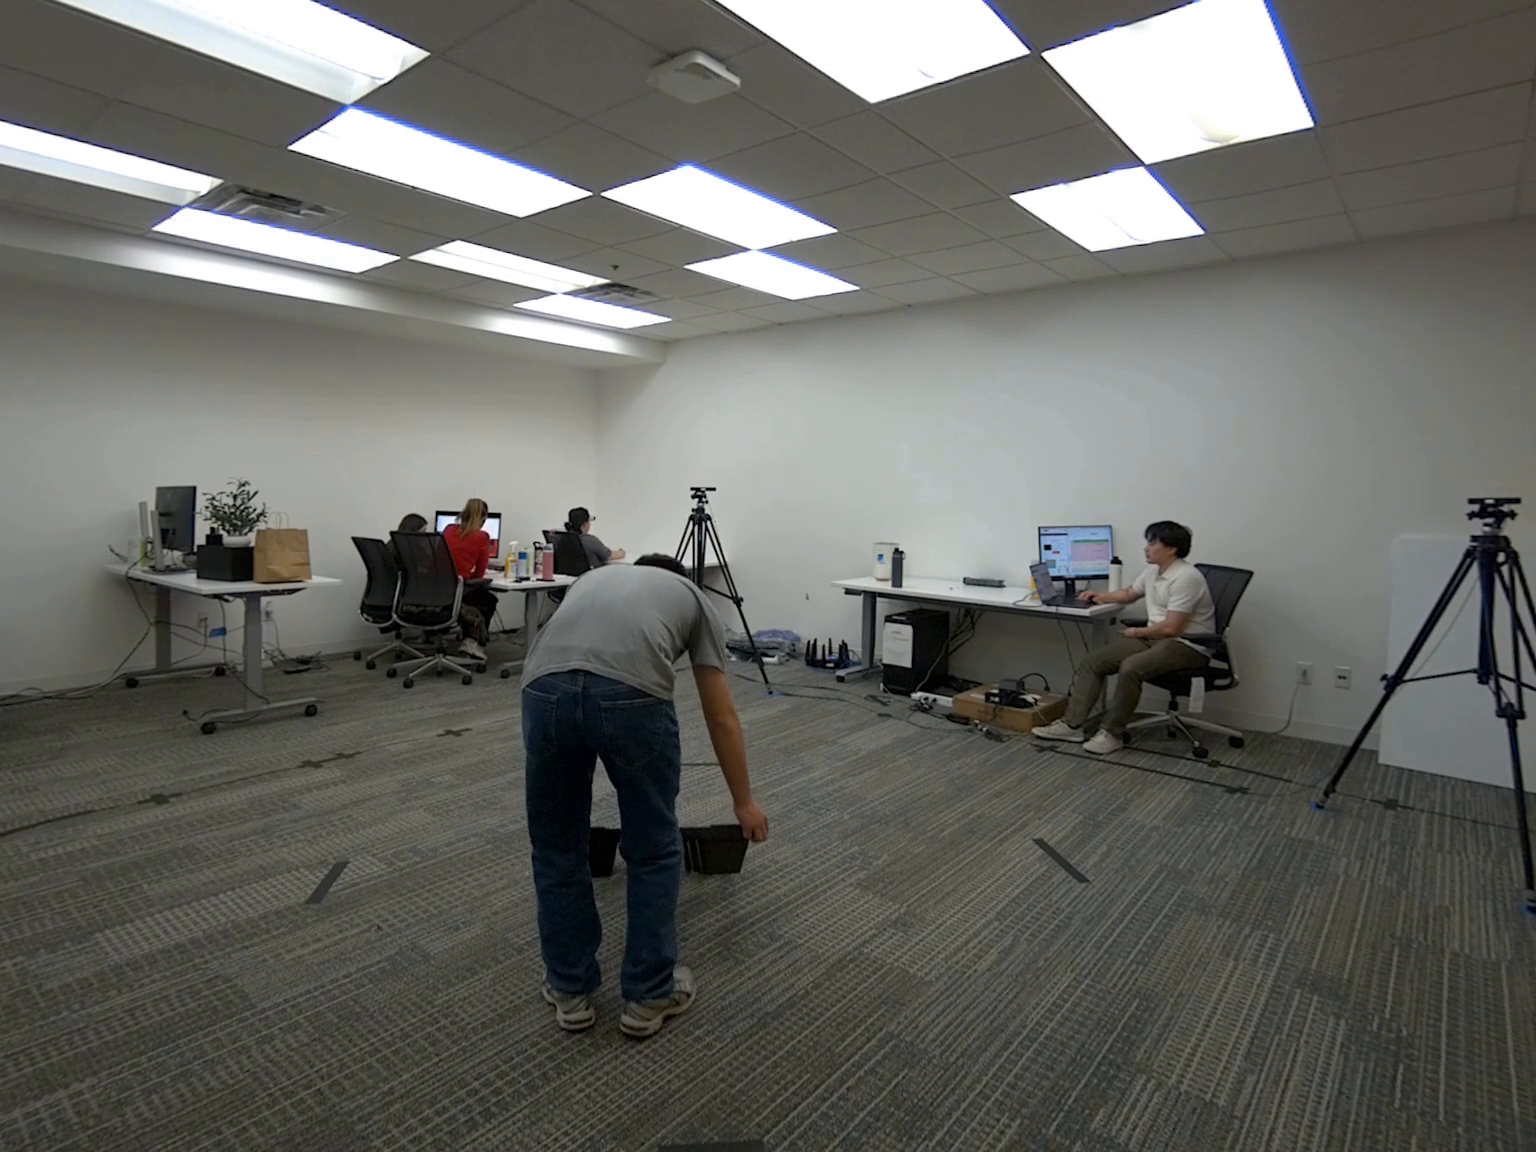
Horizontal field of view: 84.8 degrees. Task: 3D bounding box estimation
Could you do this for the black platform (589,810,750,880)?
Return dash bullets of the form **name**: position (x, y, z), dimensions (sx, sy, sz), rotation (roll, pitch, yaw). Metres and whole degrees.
- **black platform**: position (-0.385, 0.895, 2.777), dimensions (0.600, 0.146, 0.798), rotation (2, -18, -9)
